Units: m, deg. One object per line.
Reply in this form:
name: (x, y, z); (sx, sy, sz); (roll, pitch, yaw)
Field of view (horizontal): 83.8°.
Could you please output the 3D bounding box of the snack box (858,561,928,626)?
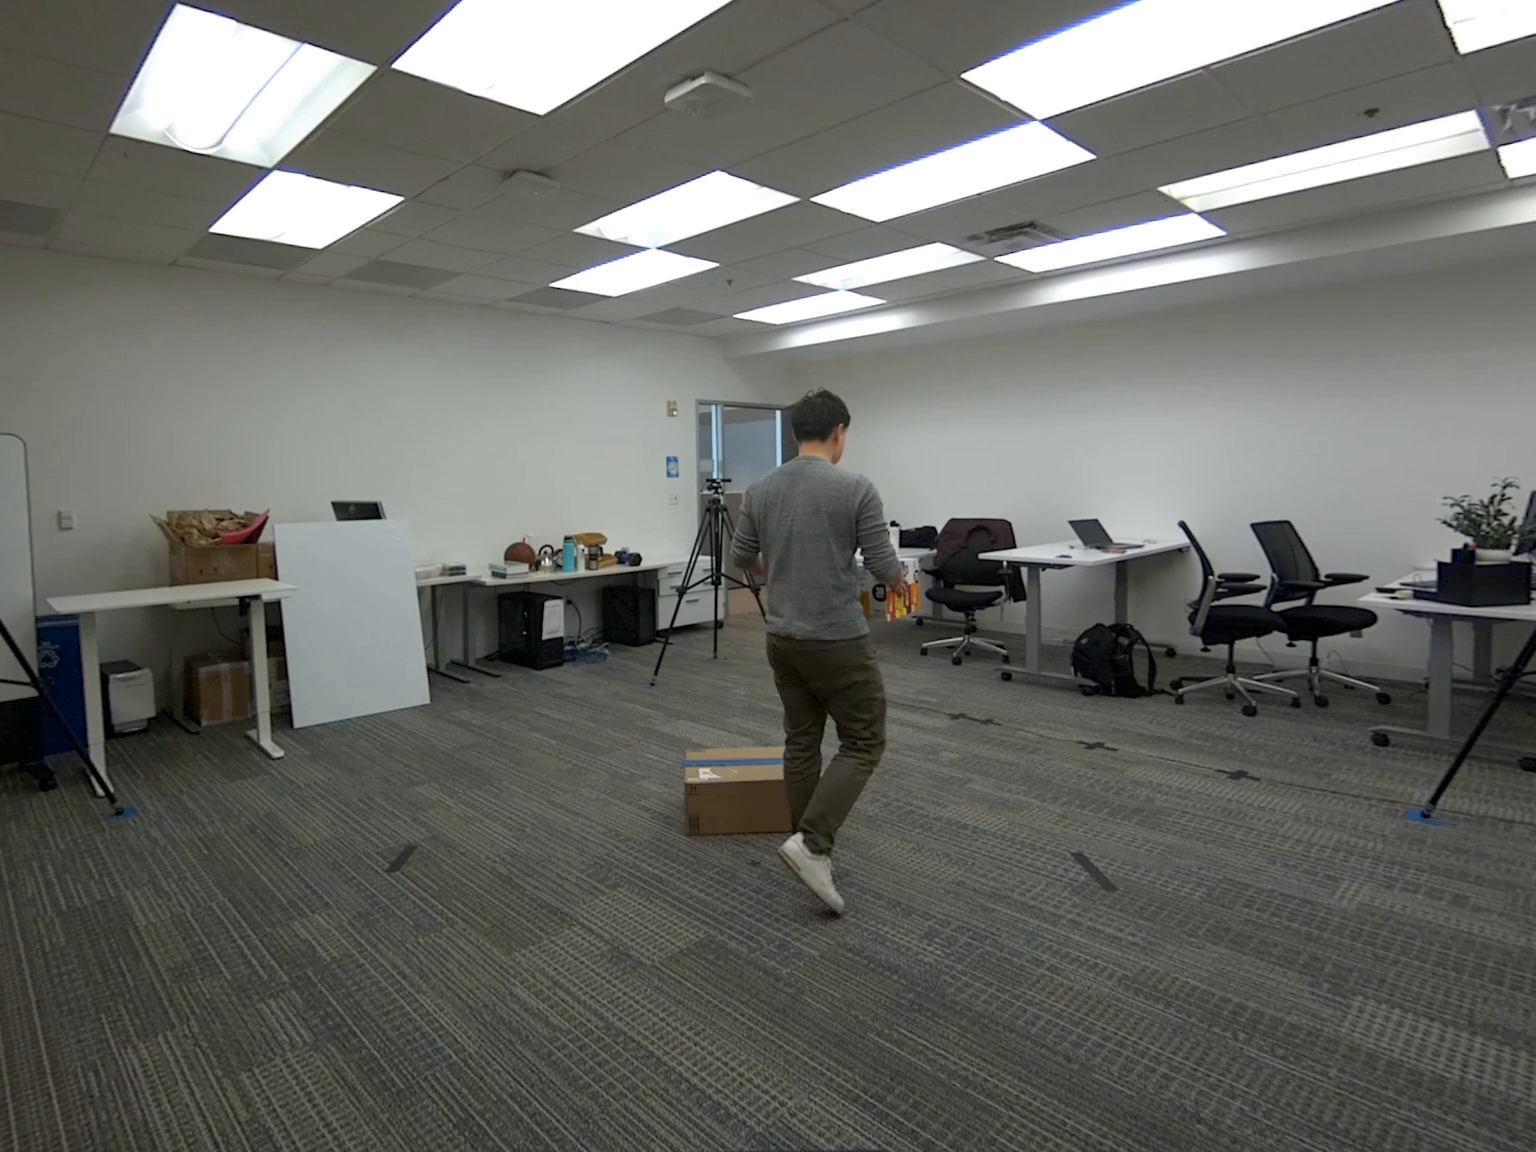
snack box: (0.355, 0.053, 3.272); (0.416, 0.205, 0.332); (1, 3, 30)
